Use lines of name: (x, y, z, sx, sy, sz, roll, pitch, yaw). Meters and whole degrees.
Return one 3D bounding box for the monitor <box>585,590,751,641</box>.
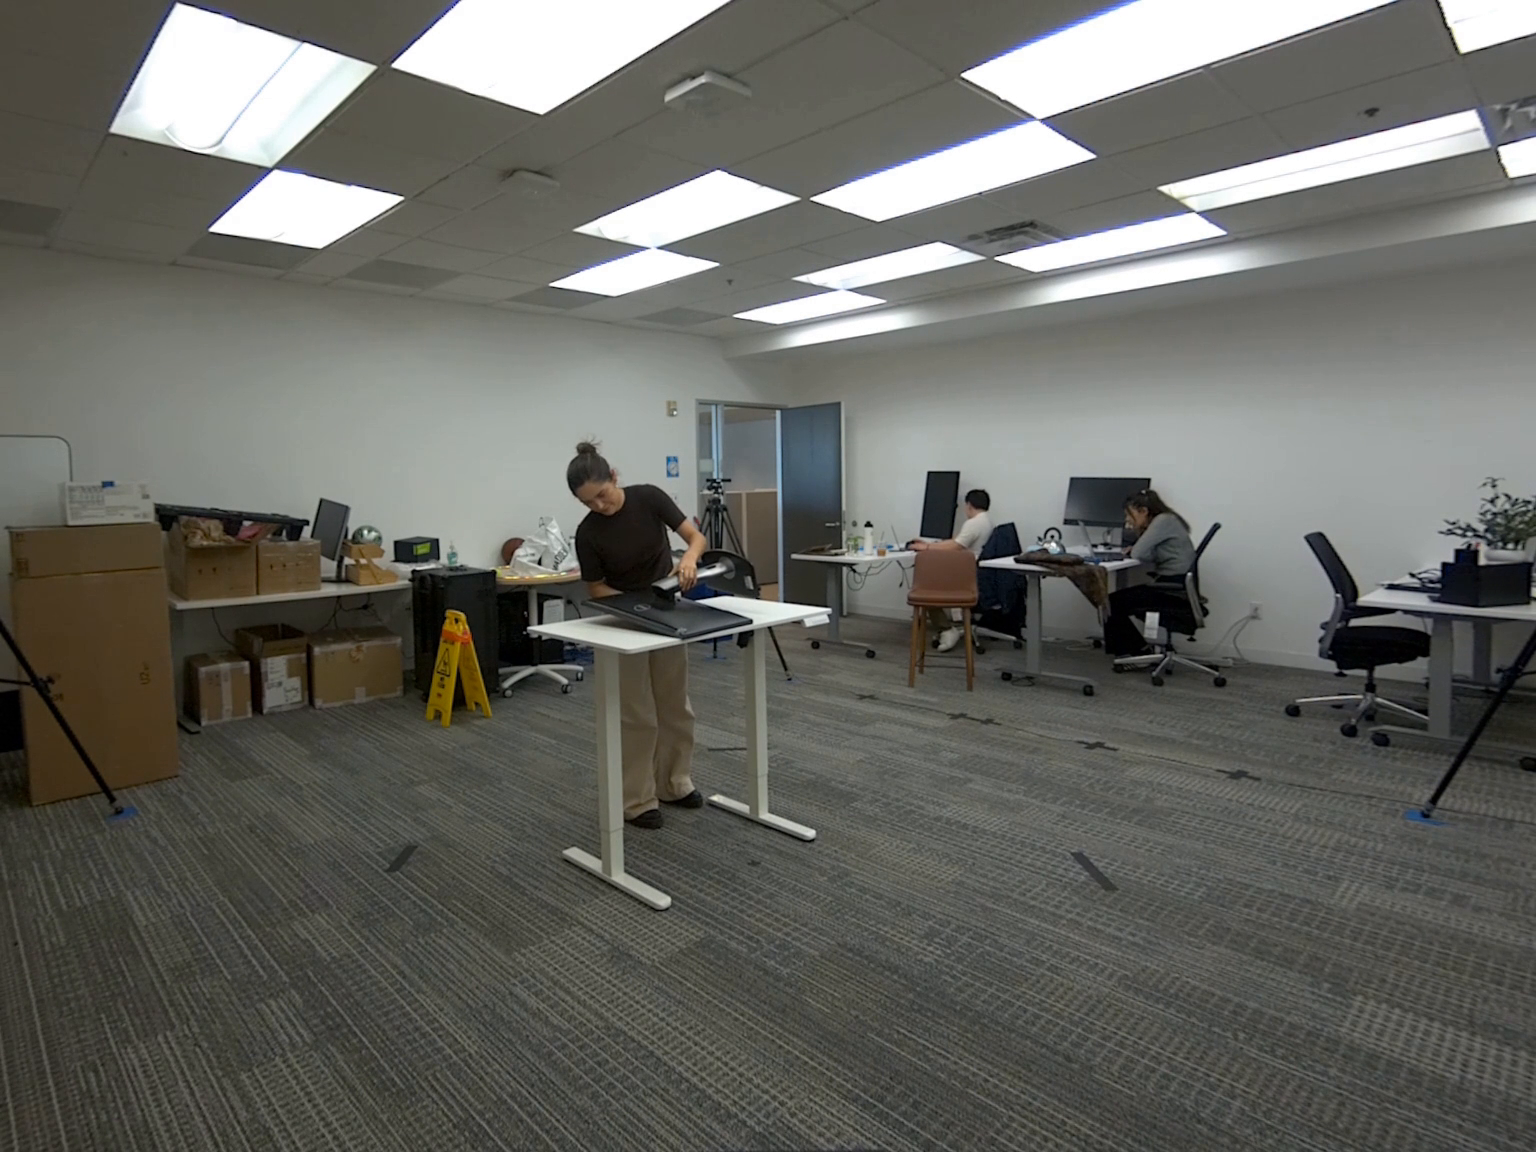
monitor: (-0.307, 0.075, 3.119, 0.557, 0.183, 0.515, 11, 29, 42)
